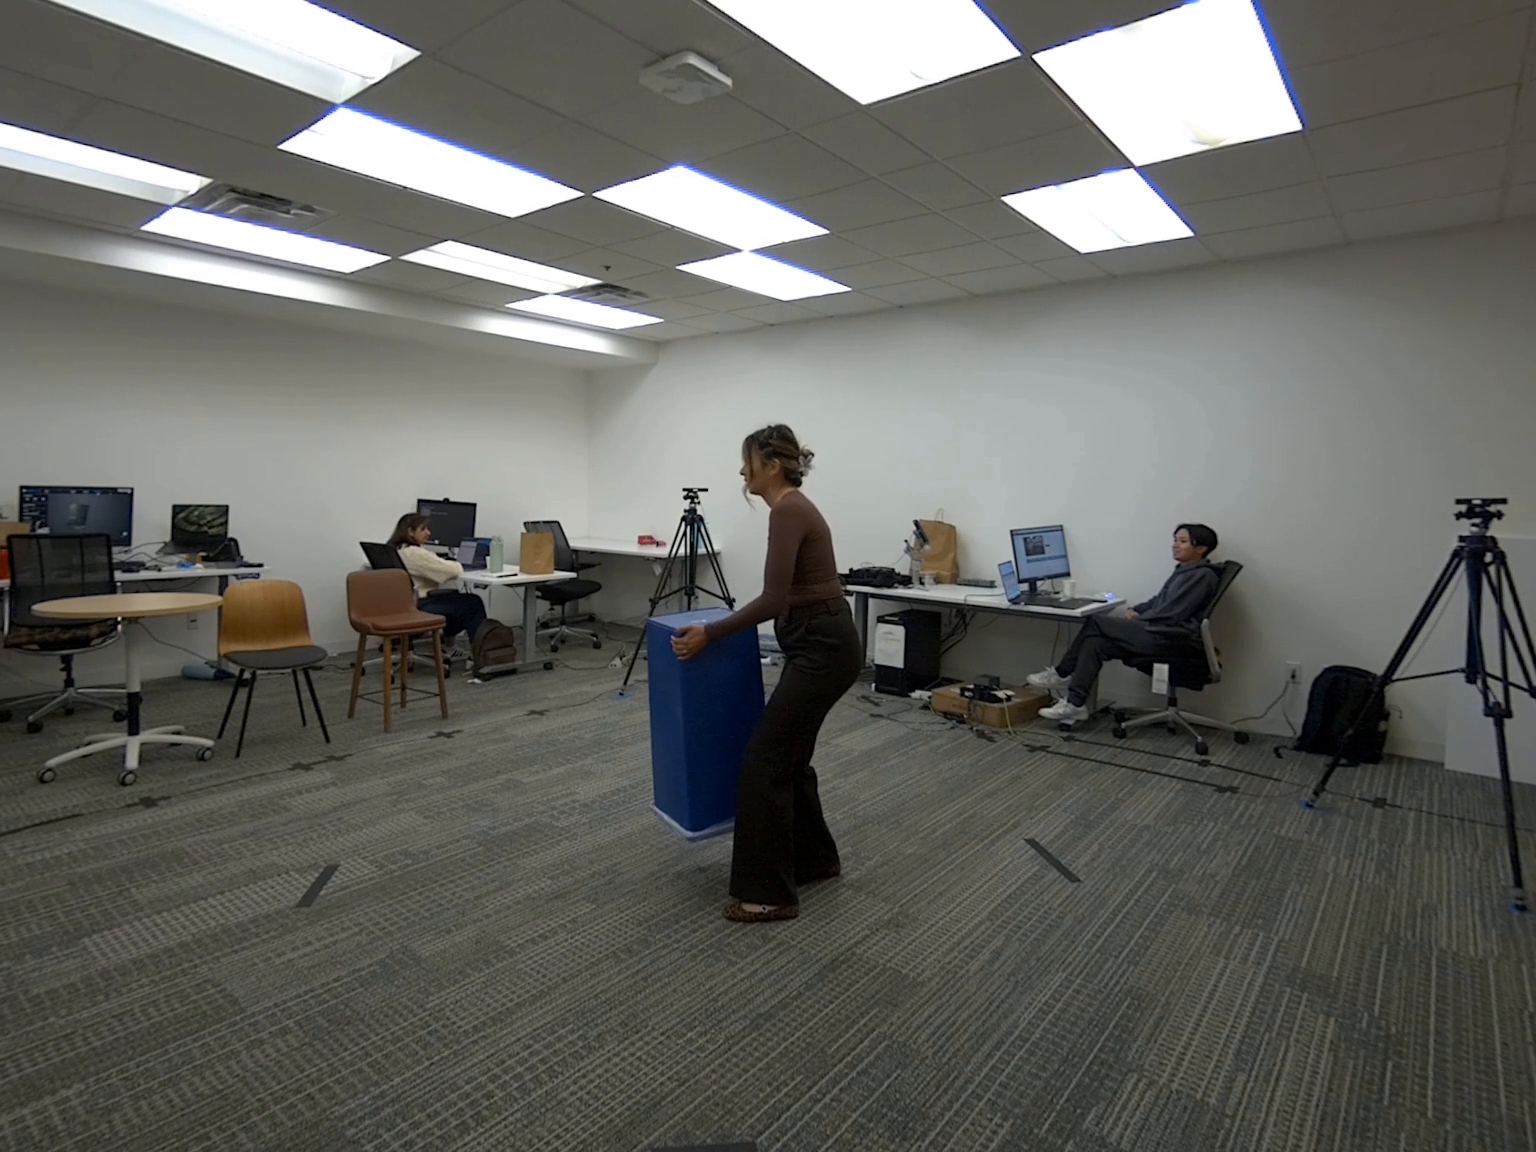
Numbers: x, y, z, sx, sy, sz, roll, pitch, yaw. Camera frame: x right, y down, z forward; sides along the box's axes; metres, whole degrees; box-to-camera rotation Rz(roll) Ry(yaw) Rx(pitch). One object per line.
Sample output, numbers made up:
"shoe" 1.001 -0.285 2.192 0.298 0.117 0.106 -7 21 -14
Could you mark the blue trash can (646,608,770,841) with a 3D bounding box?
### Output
"blue trash can" -0.230 0.502 3.022 0.369 0.709 0.385 -7 7 -28
